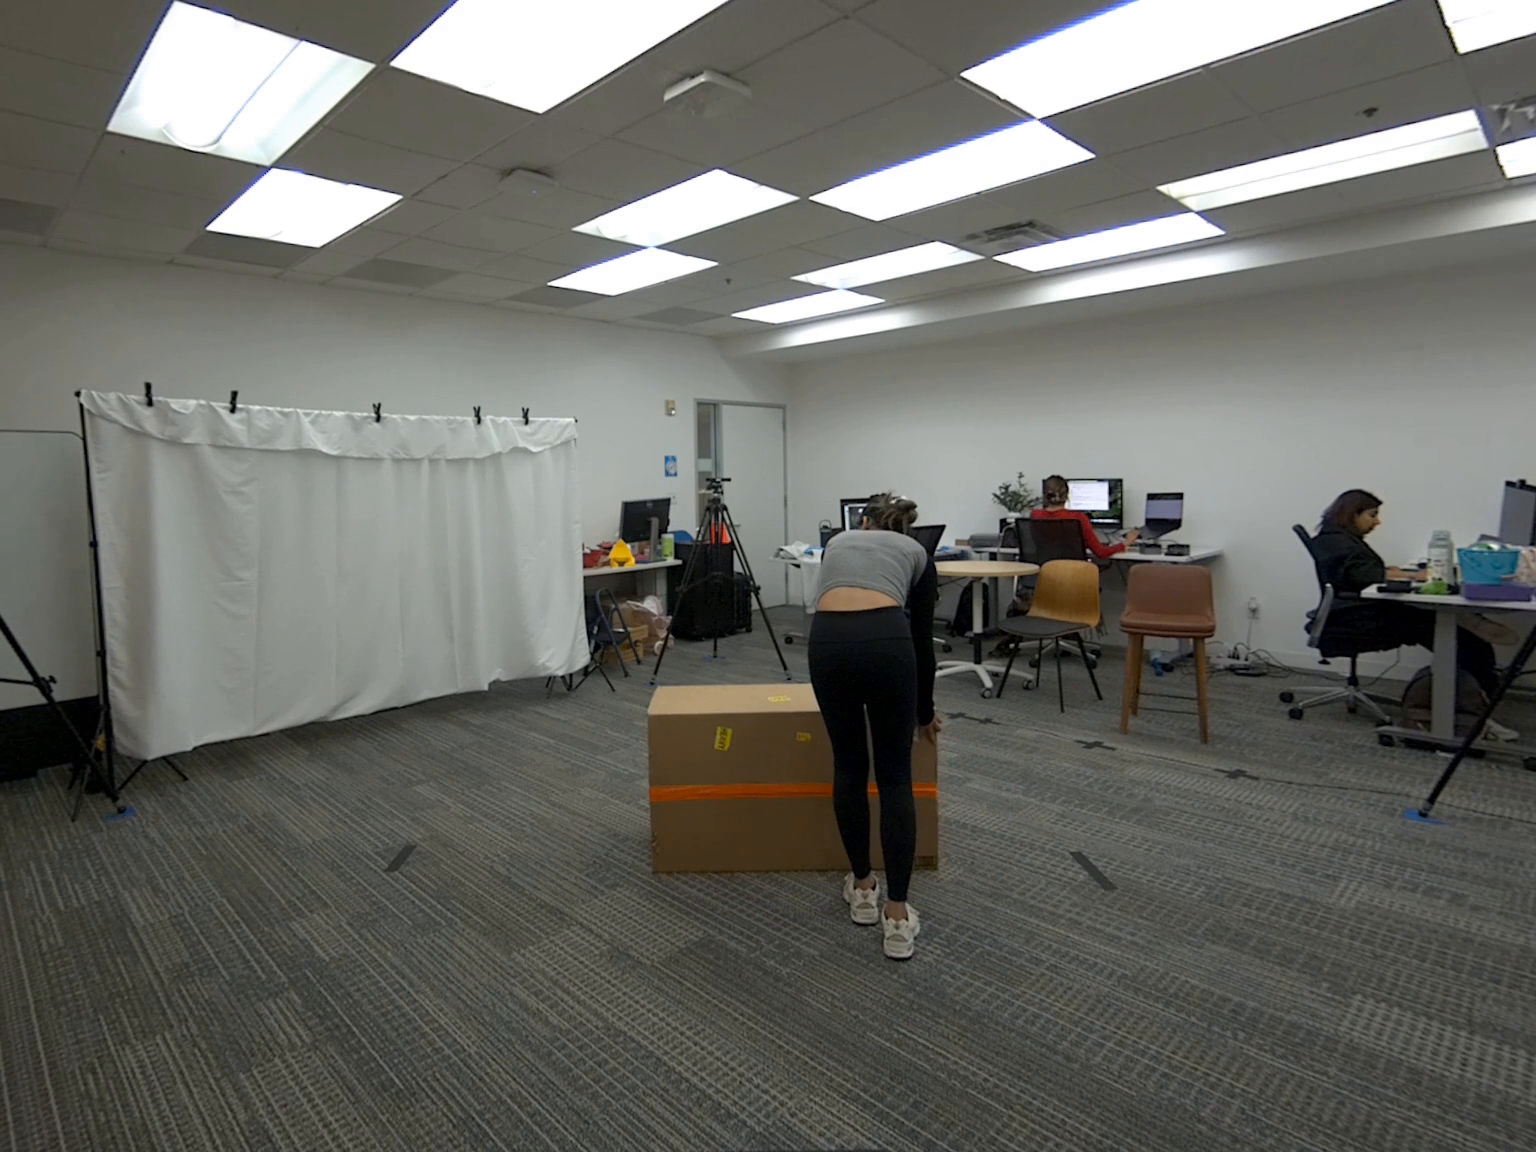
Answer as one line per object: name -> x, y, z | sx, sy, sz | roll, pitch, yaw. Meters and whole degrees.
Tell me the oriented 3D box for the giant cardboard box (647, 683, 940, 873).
giant cardboard box -> 0.075, 0.737, 3.226 | 1.026, 0.581, 0.449 | -1, 5, -1
